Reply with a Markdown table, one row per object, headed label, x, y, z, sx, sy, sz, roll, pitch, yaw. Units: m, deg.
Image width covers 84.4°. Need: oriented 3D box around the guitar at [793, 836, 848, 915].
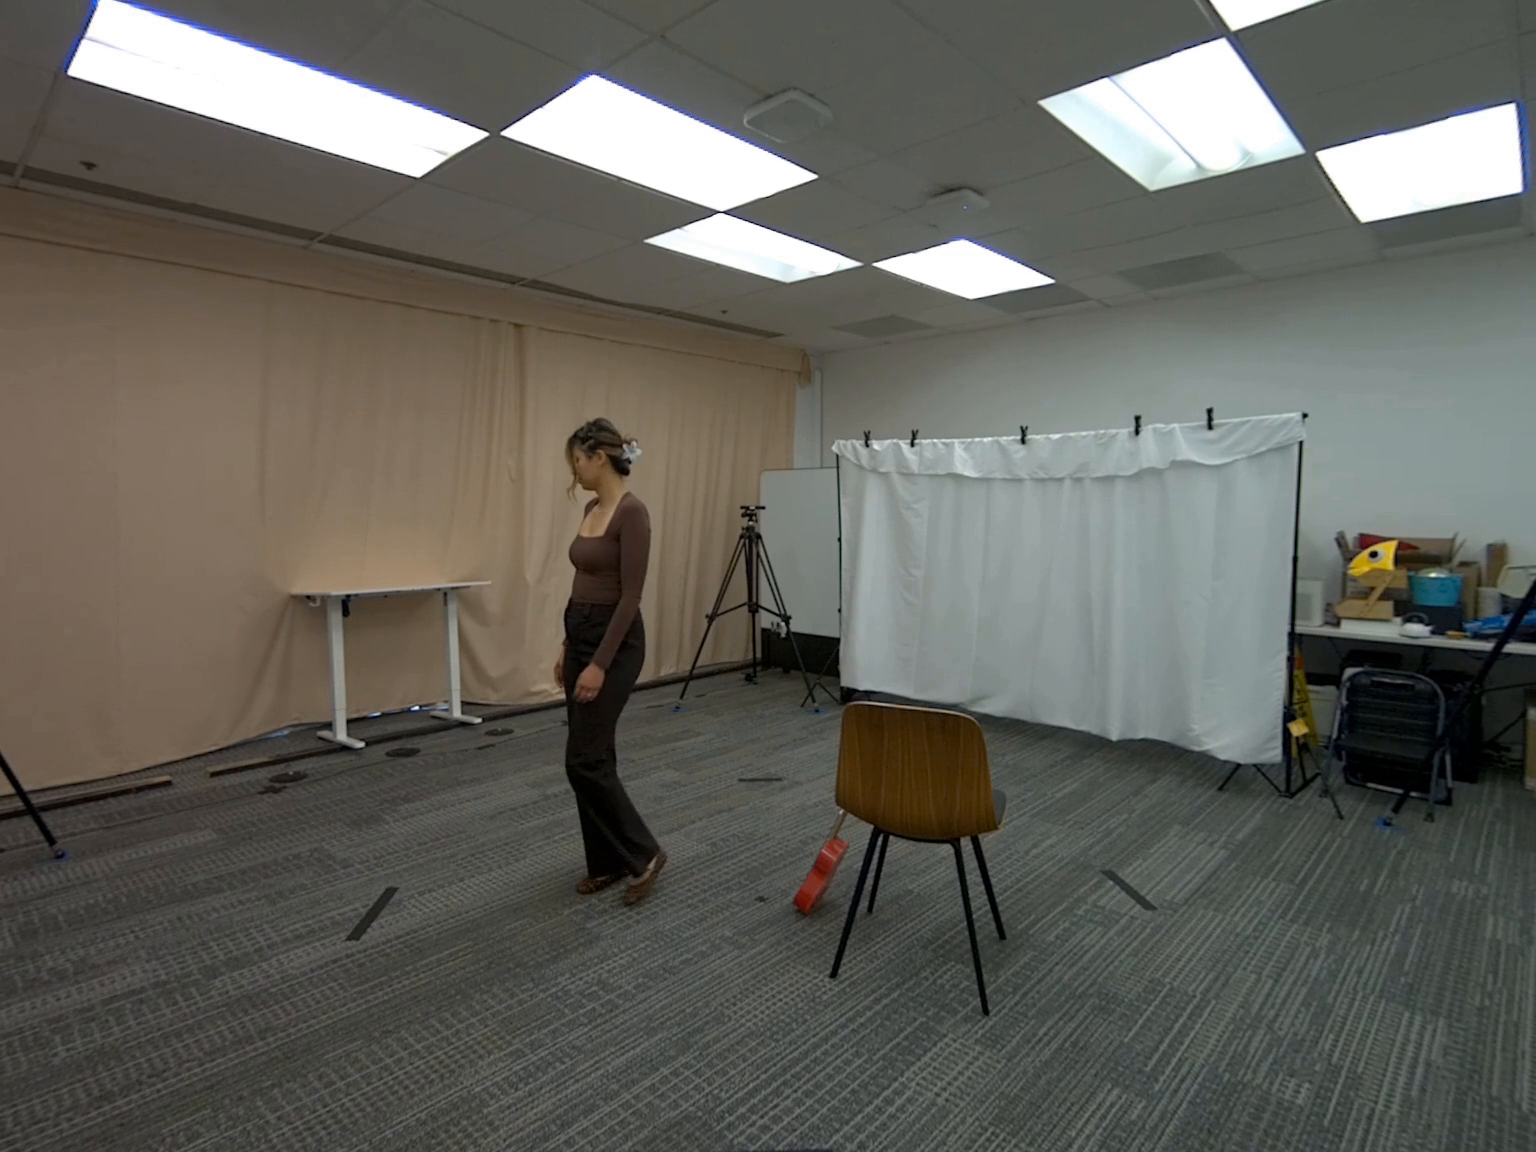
| label | x | y | z | sx | sy | sz | roll | pitch | yaw |
| --- | --- | --- | --- | --- | --- | --- | --- | --- | --- |
| guitar | 0.217 | 0.928 | 2.838 | 0.072 | 0.495 | 0.189 | 30 | 24 | 21 |
